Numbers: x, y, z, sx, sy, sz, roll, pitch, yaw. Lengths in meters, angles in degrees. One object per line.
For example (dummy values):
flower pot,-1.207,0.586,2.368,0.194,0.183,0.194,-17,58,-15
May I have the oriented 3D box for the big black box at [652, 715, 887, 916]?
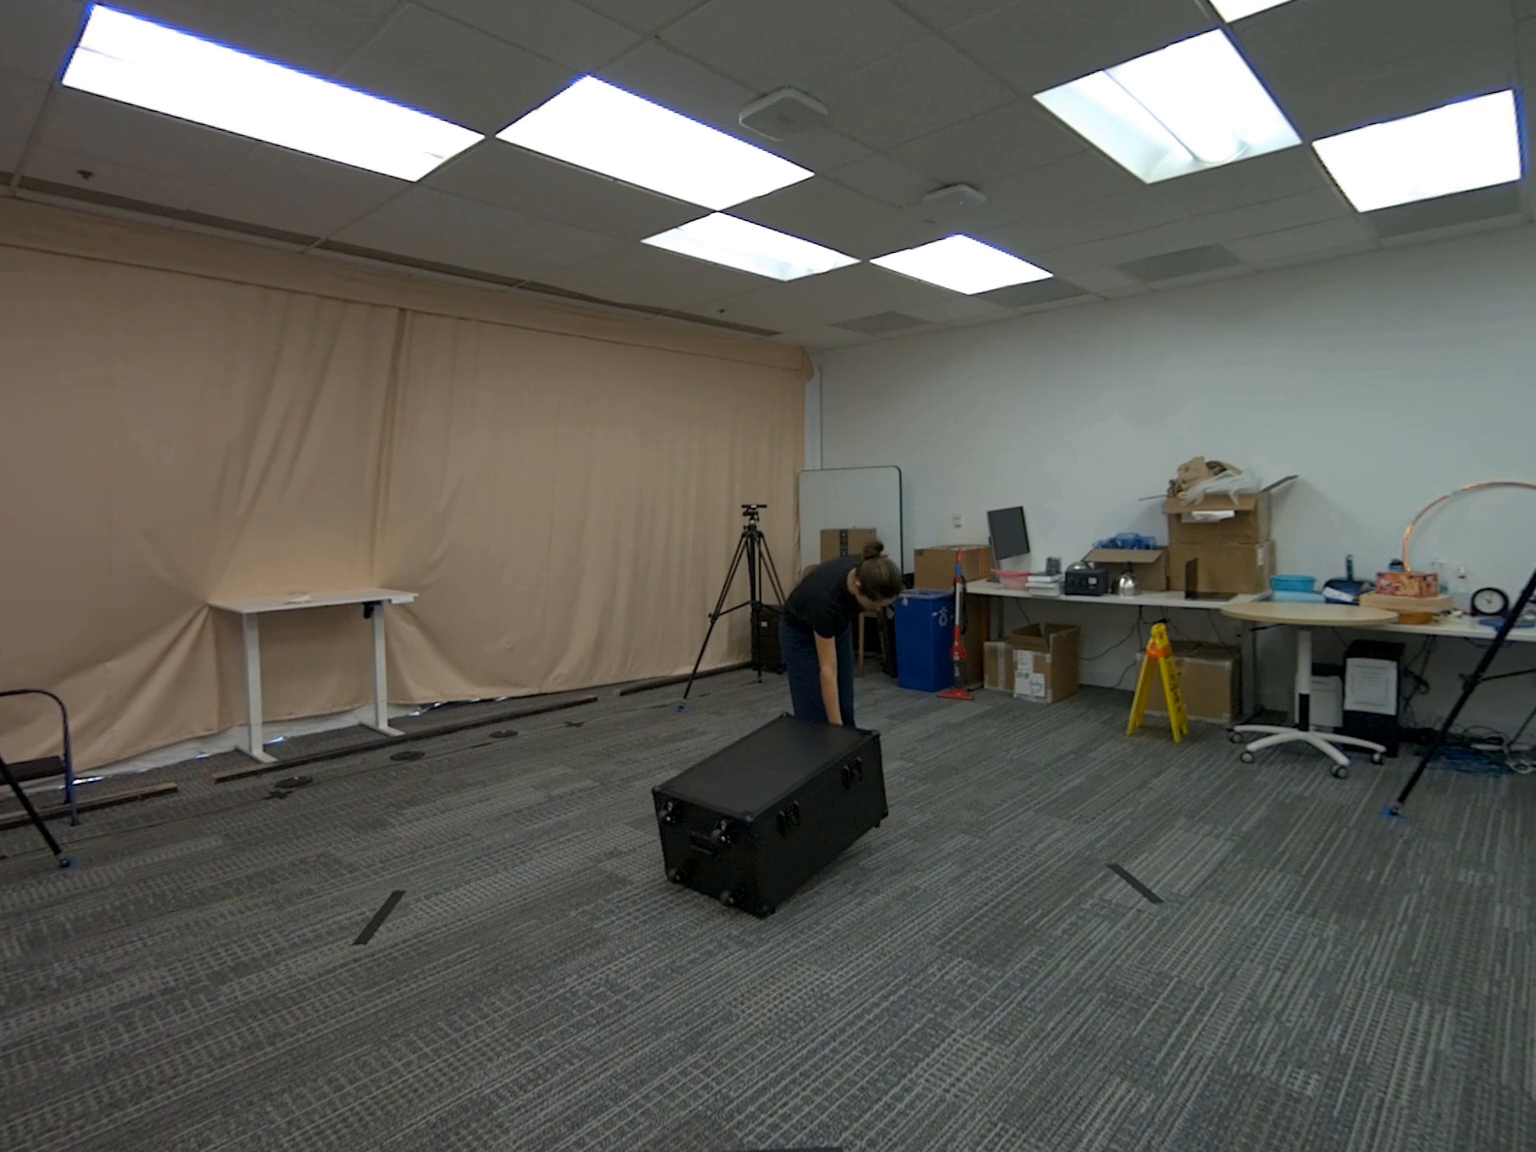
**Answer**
big black box,0.019,0.868,3.190,0.538,0.393,0.840,2,15,42
